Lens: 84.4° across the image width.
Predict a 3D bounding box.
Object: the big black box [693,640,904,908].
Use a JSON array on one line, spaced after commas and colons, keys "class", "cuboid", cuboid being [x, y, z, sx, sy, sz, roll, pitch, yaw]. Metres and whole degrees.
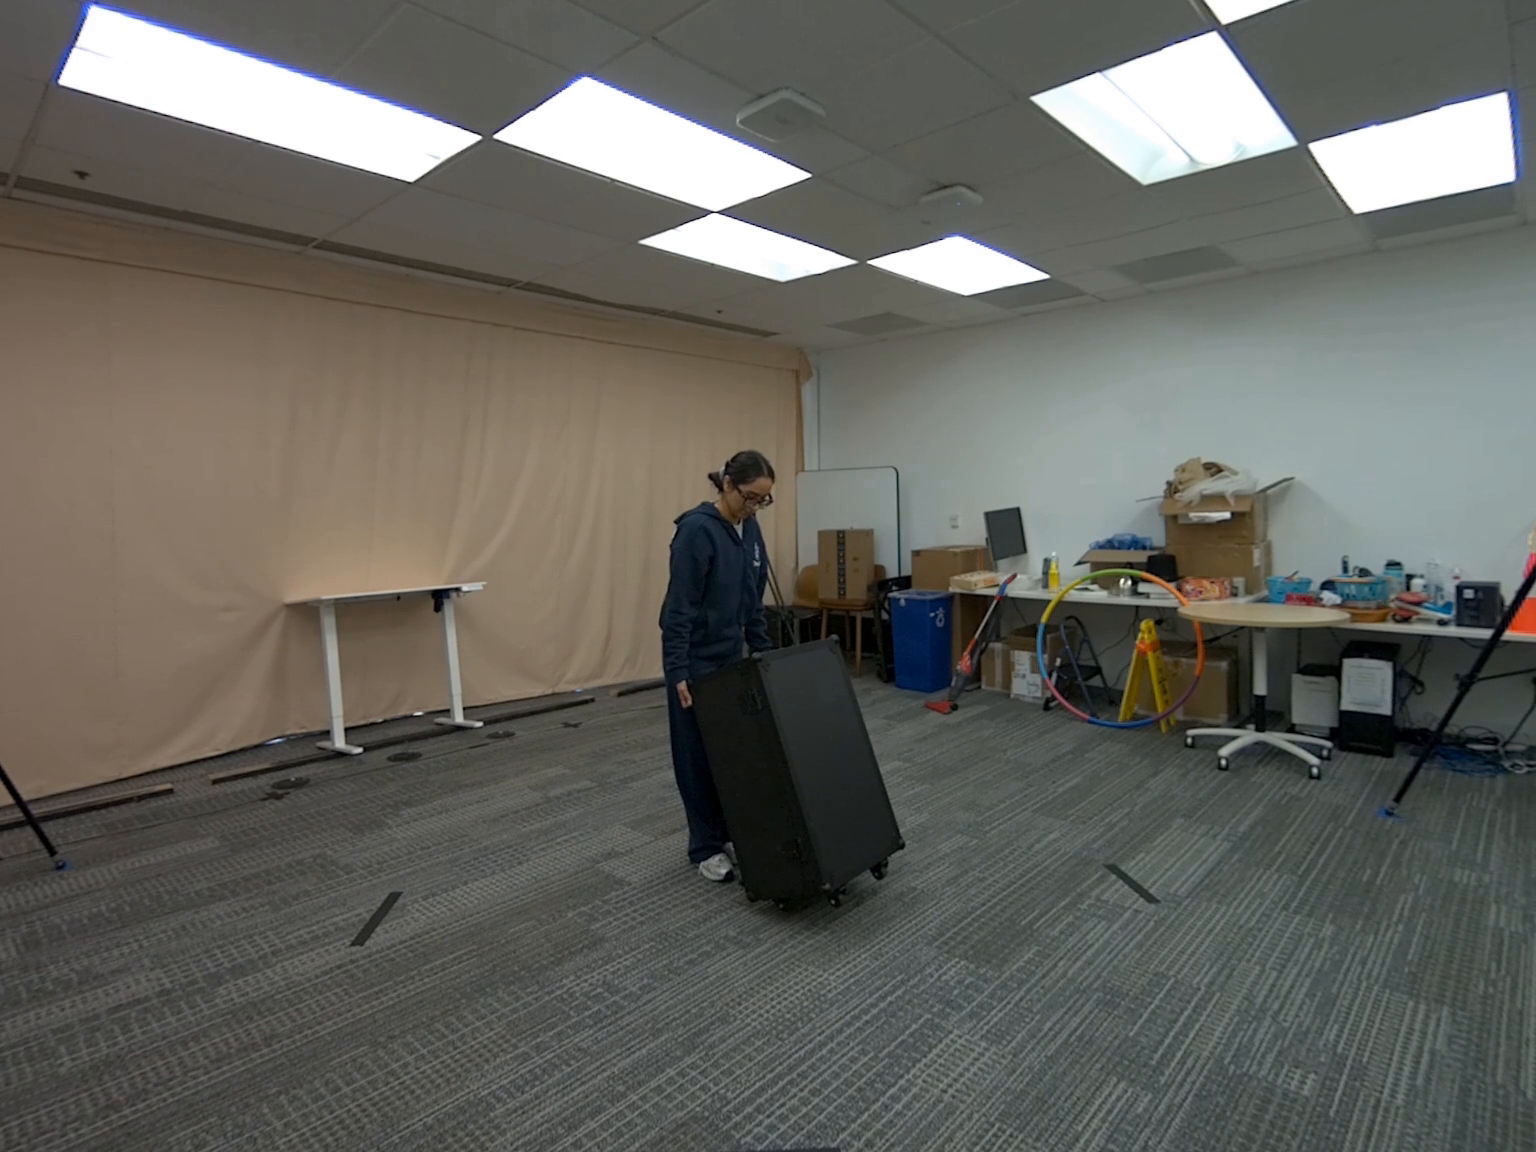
[{"class": "big black box", "cuboid": [0.102, 0.705, 2.994, 0.404, 0.870, 0.506, -26, -13, 38]}]
